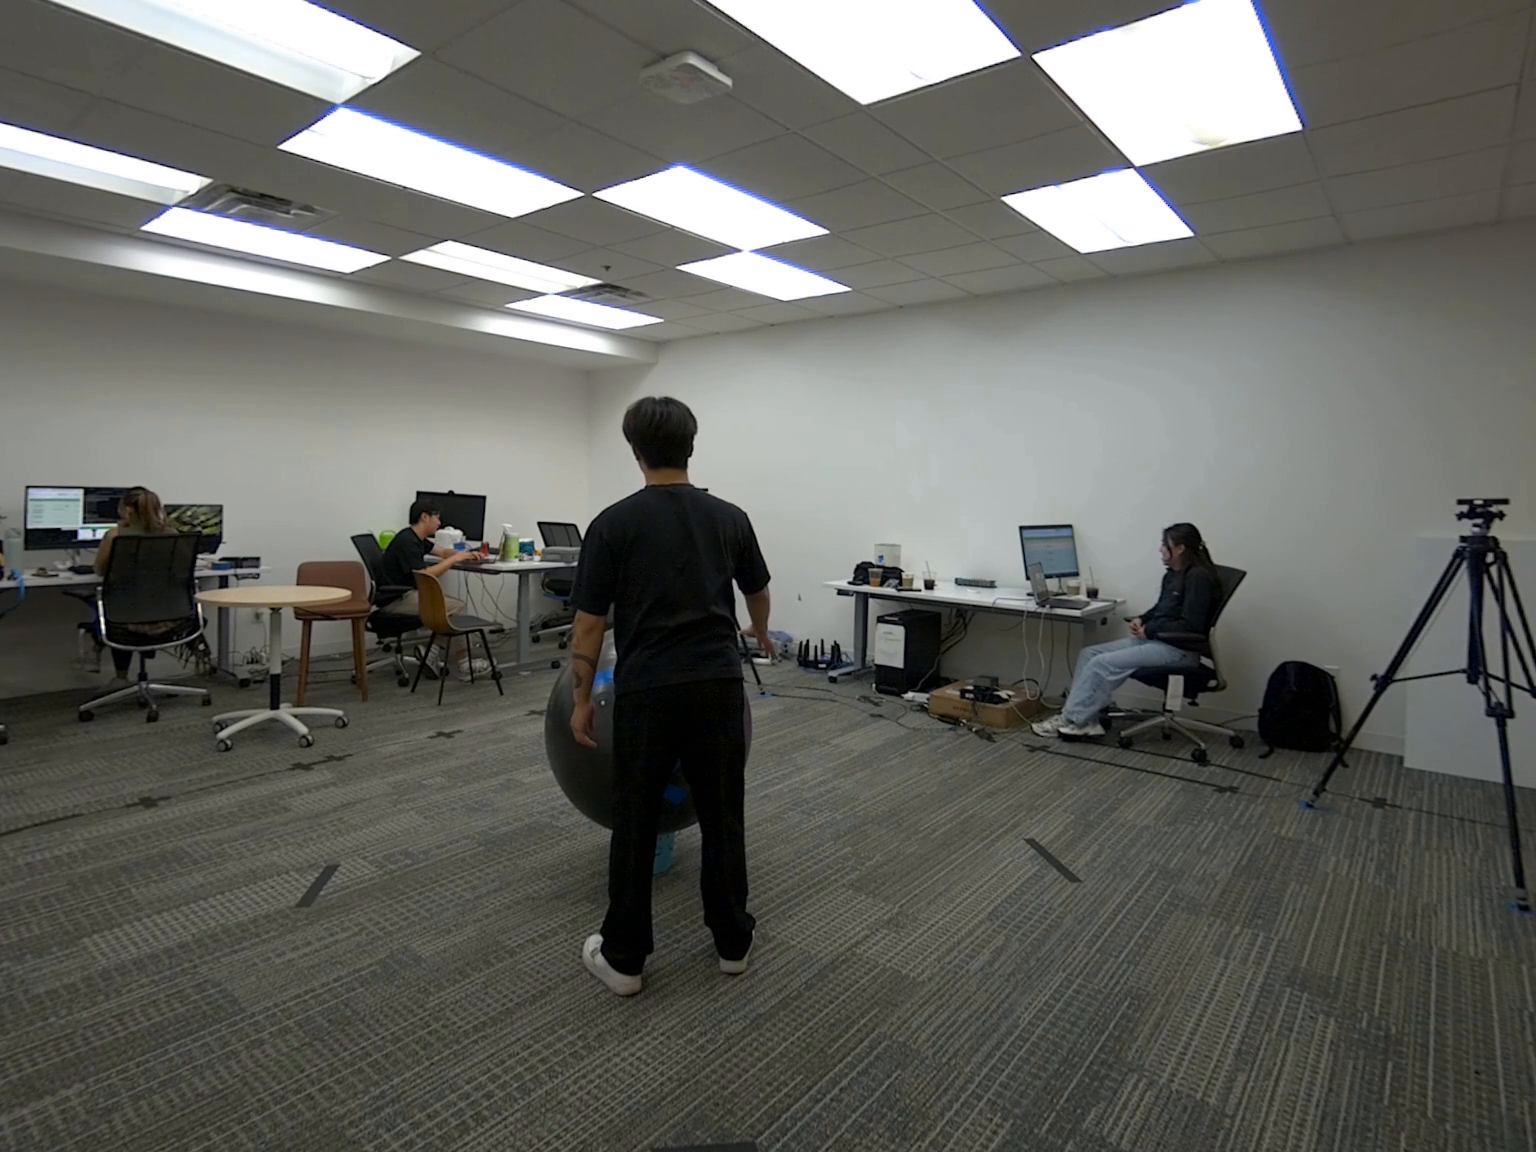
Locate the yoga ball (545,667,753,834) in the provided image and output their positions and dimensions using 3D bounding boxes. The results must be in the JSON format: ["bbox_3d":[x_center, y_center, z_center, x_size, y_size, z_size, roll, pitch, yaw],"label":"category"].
[{"bbox_3d":[-0.445,0.553,3.133,0.757,0.756,0.762,1,4,-2],"label":"yoga ball"}]
